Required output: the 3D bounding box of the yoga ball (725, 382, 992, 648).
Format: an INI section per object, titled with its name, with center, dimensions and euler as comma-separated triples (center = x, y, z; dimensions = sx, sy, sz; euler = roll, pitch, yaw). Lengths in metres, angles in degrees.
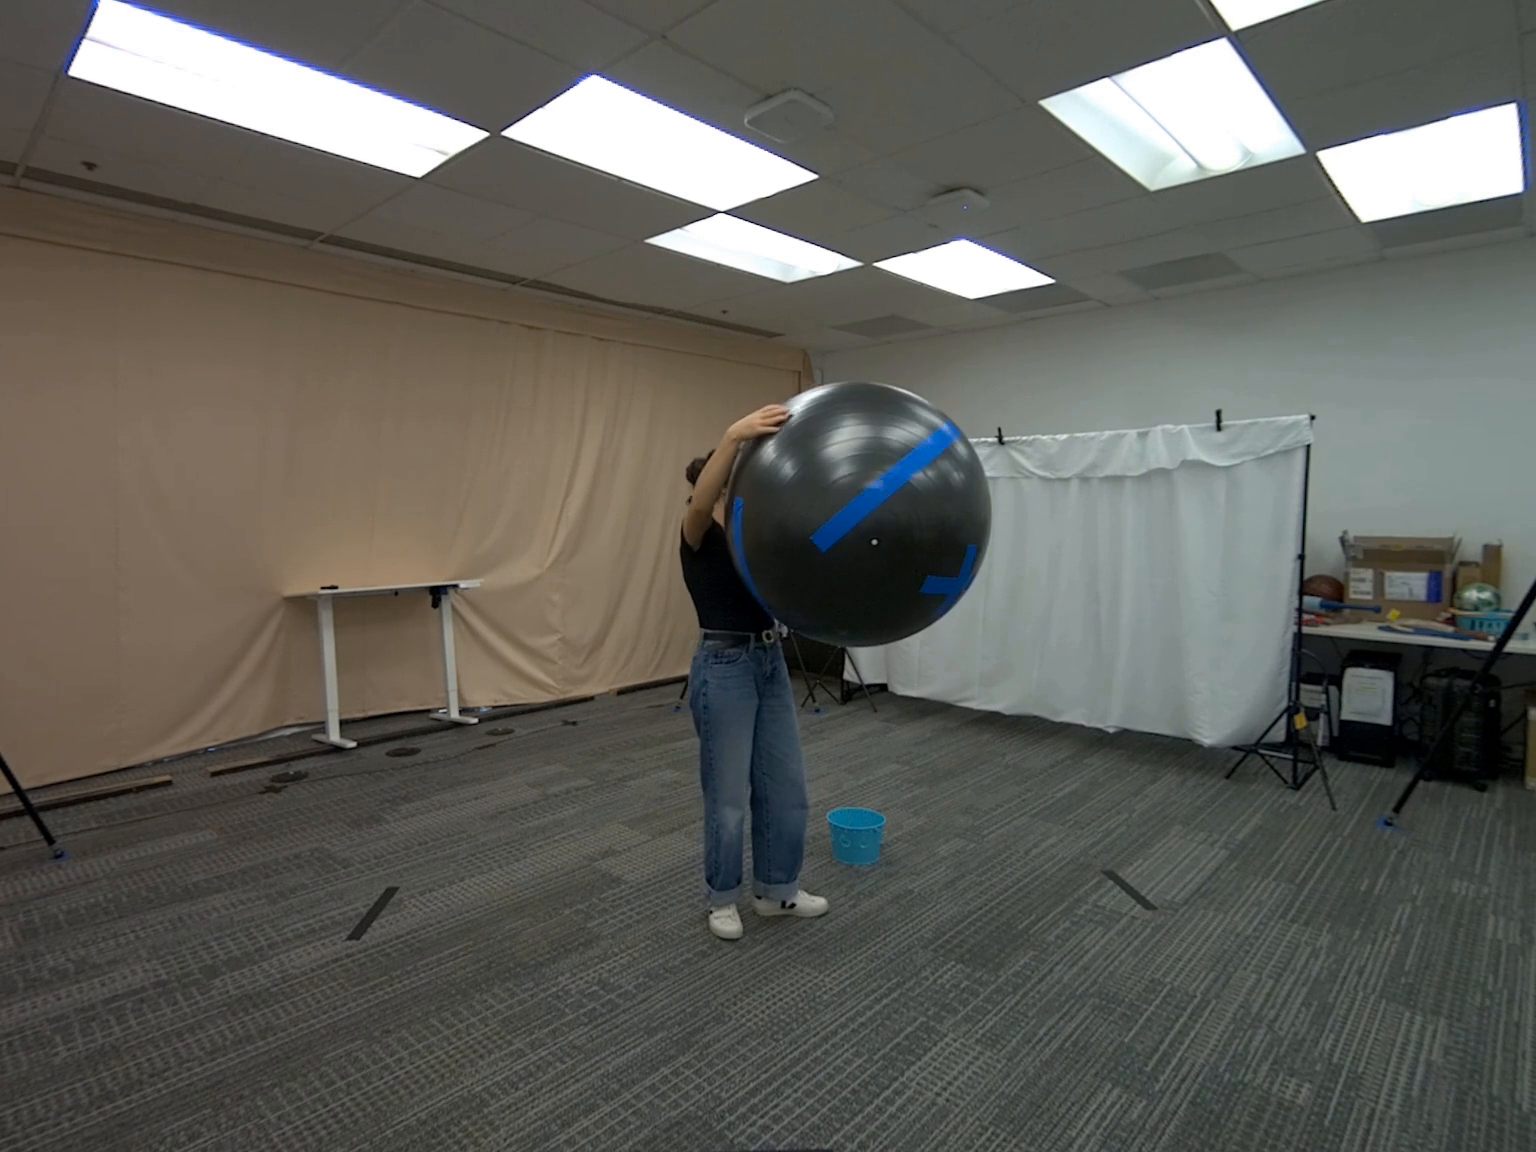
[yoga ball]
center = 0.253, -0.172, 2.435
dimensions = 0.757, 0.756, 0.760
euler = 0, 4, -2
